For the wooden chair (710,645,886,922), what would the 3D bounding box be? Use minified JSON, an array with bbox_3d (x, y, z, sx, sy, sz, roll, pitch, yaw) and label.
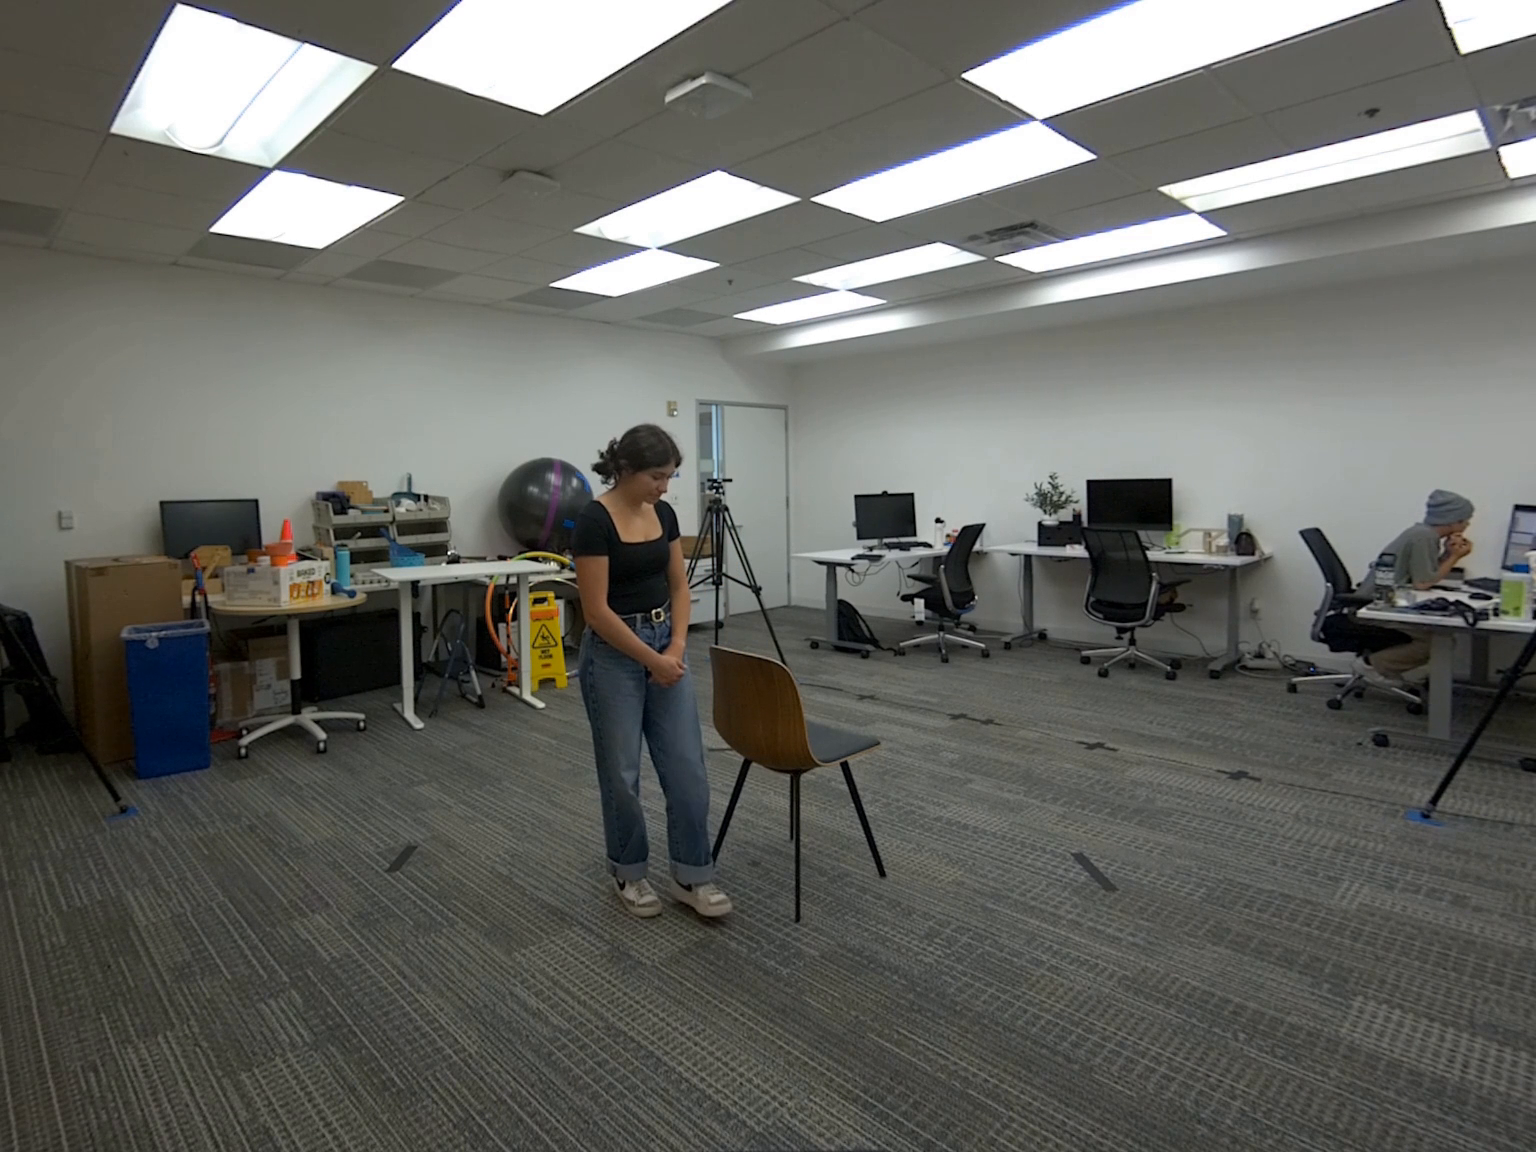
[{"bbox_3d":[0.094,0.632,2.975,0.511,0.871,0.493,-11,10,-43],"label":"wooden chair"}]
